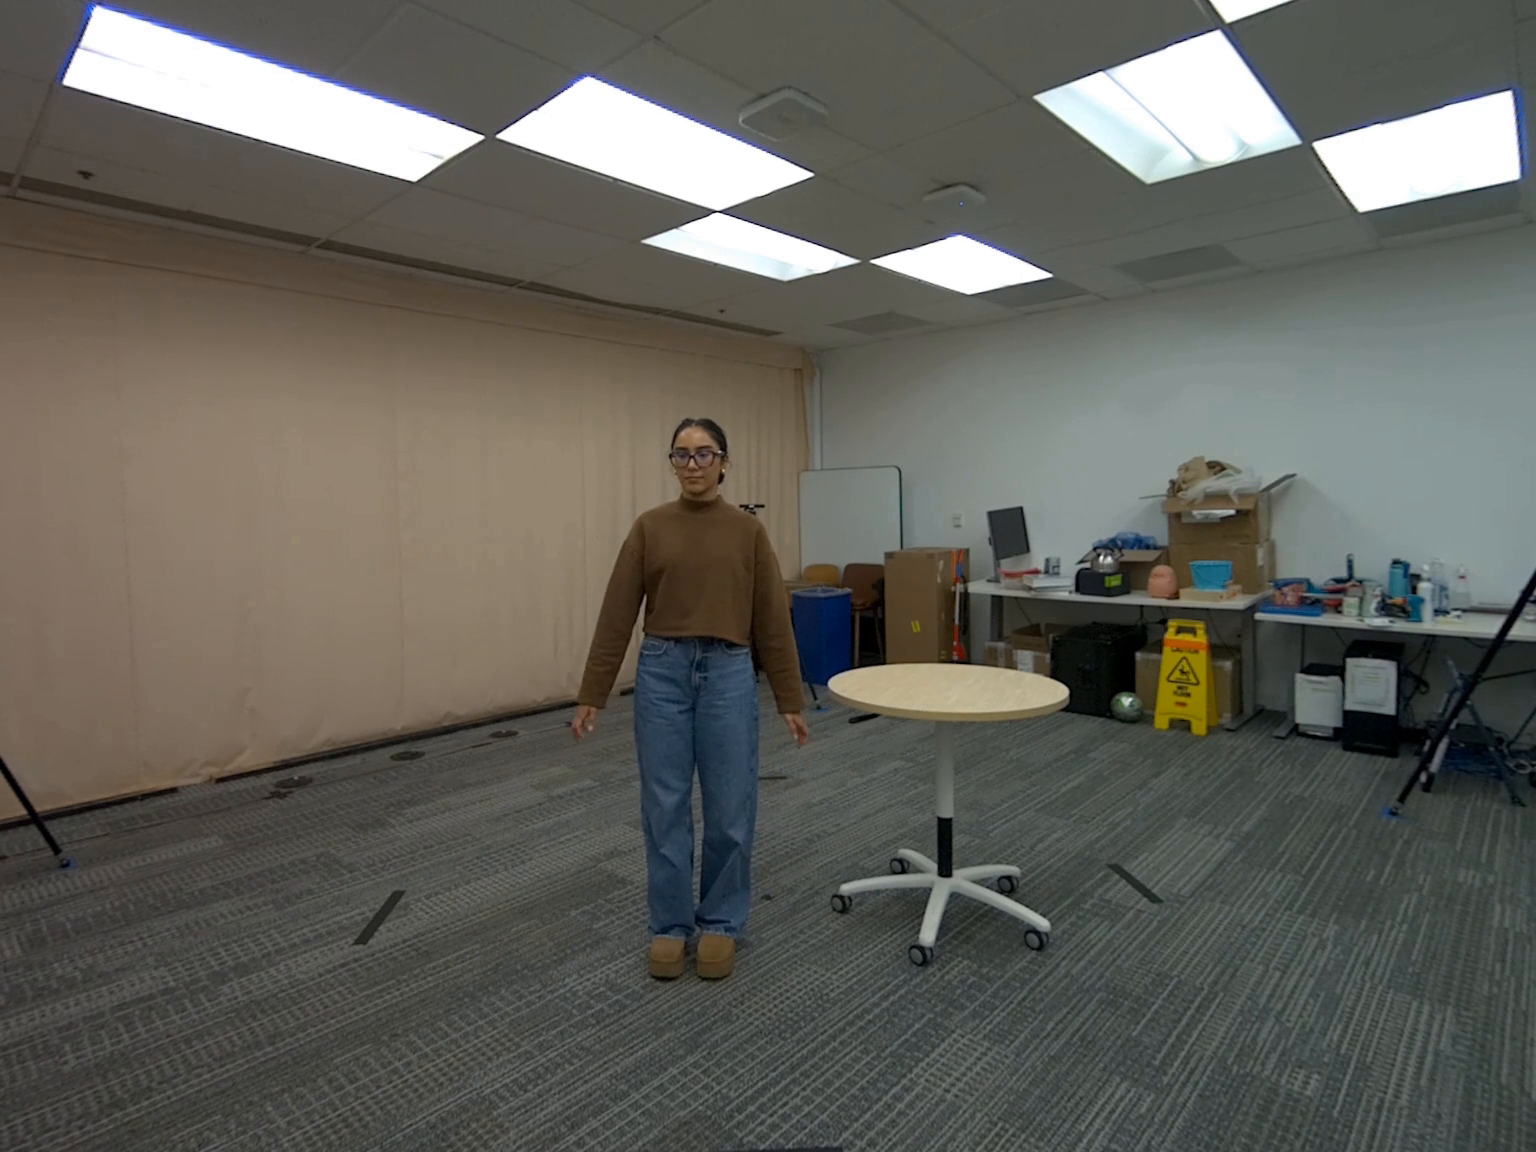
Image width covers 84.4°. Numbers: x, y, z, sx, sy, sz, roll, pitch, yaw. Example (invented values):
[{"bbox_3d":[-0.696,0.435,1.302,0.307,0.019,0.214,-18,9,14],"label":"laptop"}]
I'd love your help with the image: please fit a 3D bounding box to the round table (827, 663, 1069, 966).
[{"bbox_3d":[0.607,0.753,2.814,0.784,0.785,0.788,-1,4,-2],"label":"round table"}]
